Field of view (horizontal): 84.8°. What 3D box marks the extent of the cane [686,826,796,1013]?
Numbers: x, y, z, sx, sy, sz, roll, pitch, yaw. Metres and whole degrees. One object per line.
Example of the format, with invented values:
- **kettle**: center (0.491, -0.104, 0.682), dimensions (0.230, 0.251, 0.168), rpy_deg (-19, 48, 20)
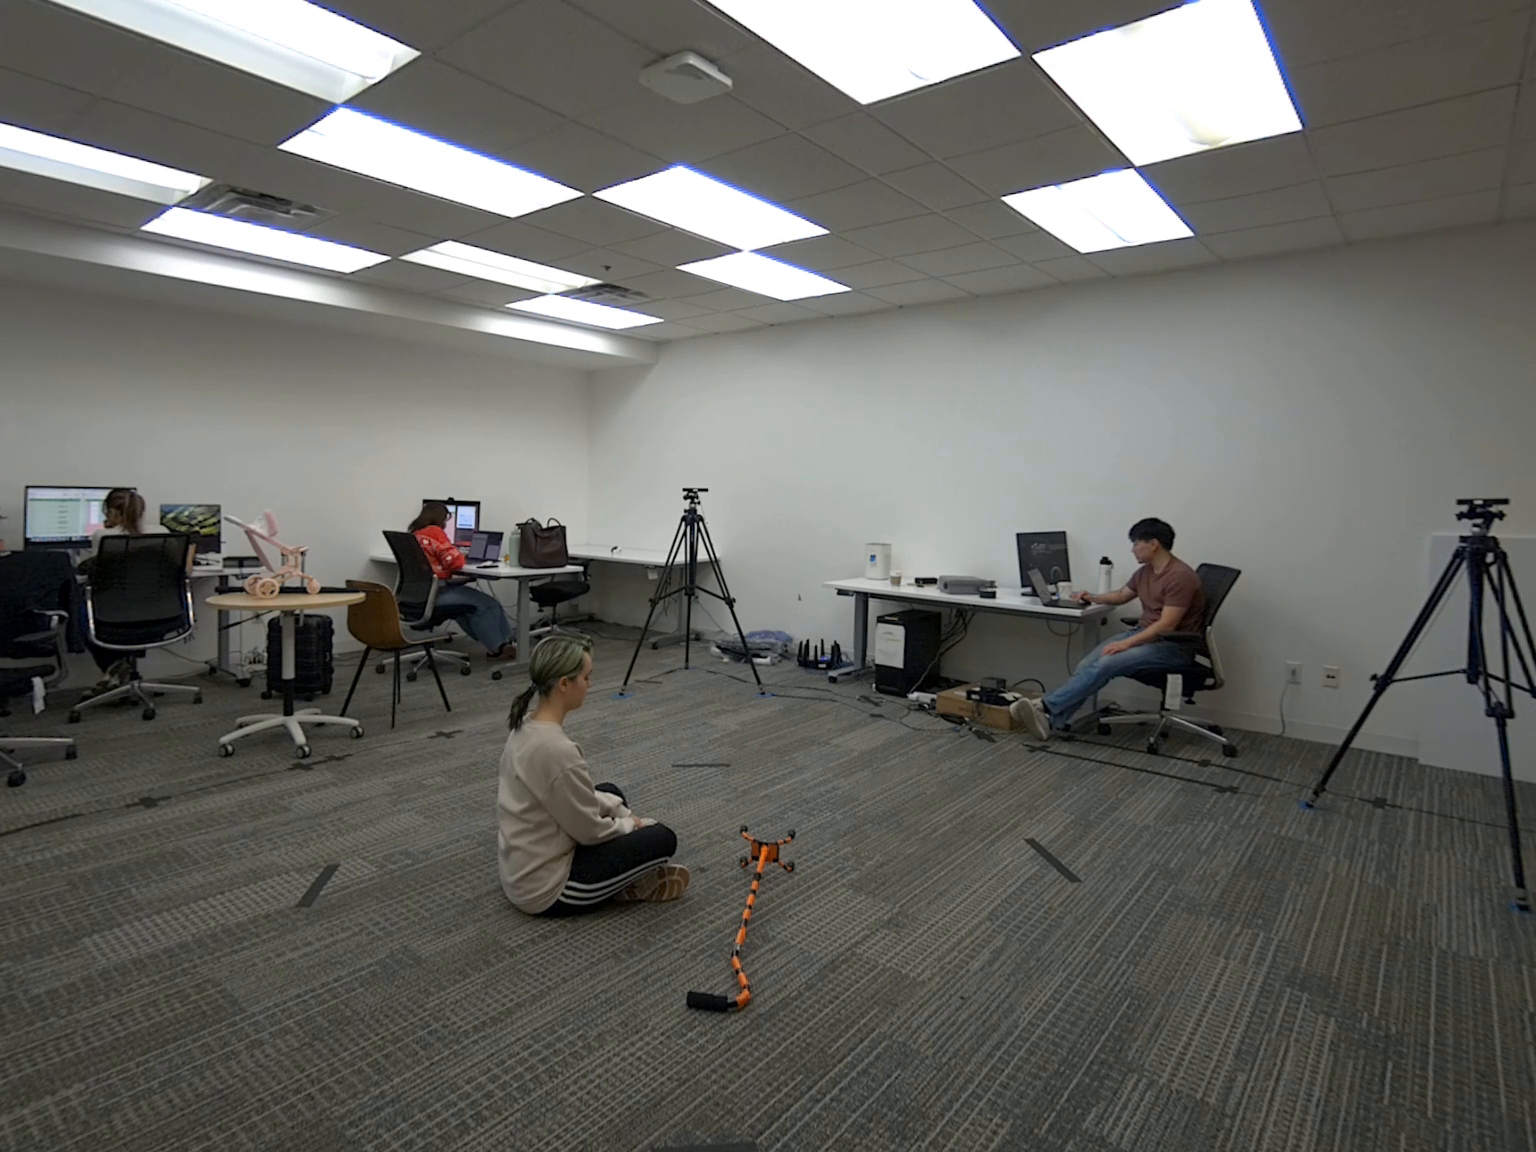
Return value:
- **cane**: center (-0.068, 1.066, 2.696), dimensions (0.209, 0.150, 0.905), rpy_deg (3, 10, 8)
